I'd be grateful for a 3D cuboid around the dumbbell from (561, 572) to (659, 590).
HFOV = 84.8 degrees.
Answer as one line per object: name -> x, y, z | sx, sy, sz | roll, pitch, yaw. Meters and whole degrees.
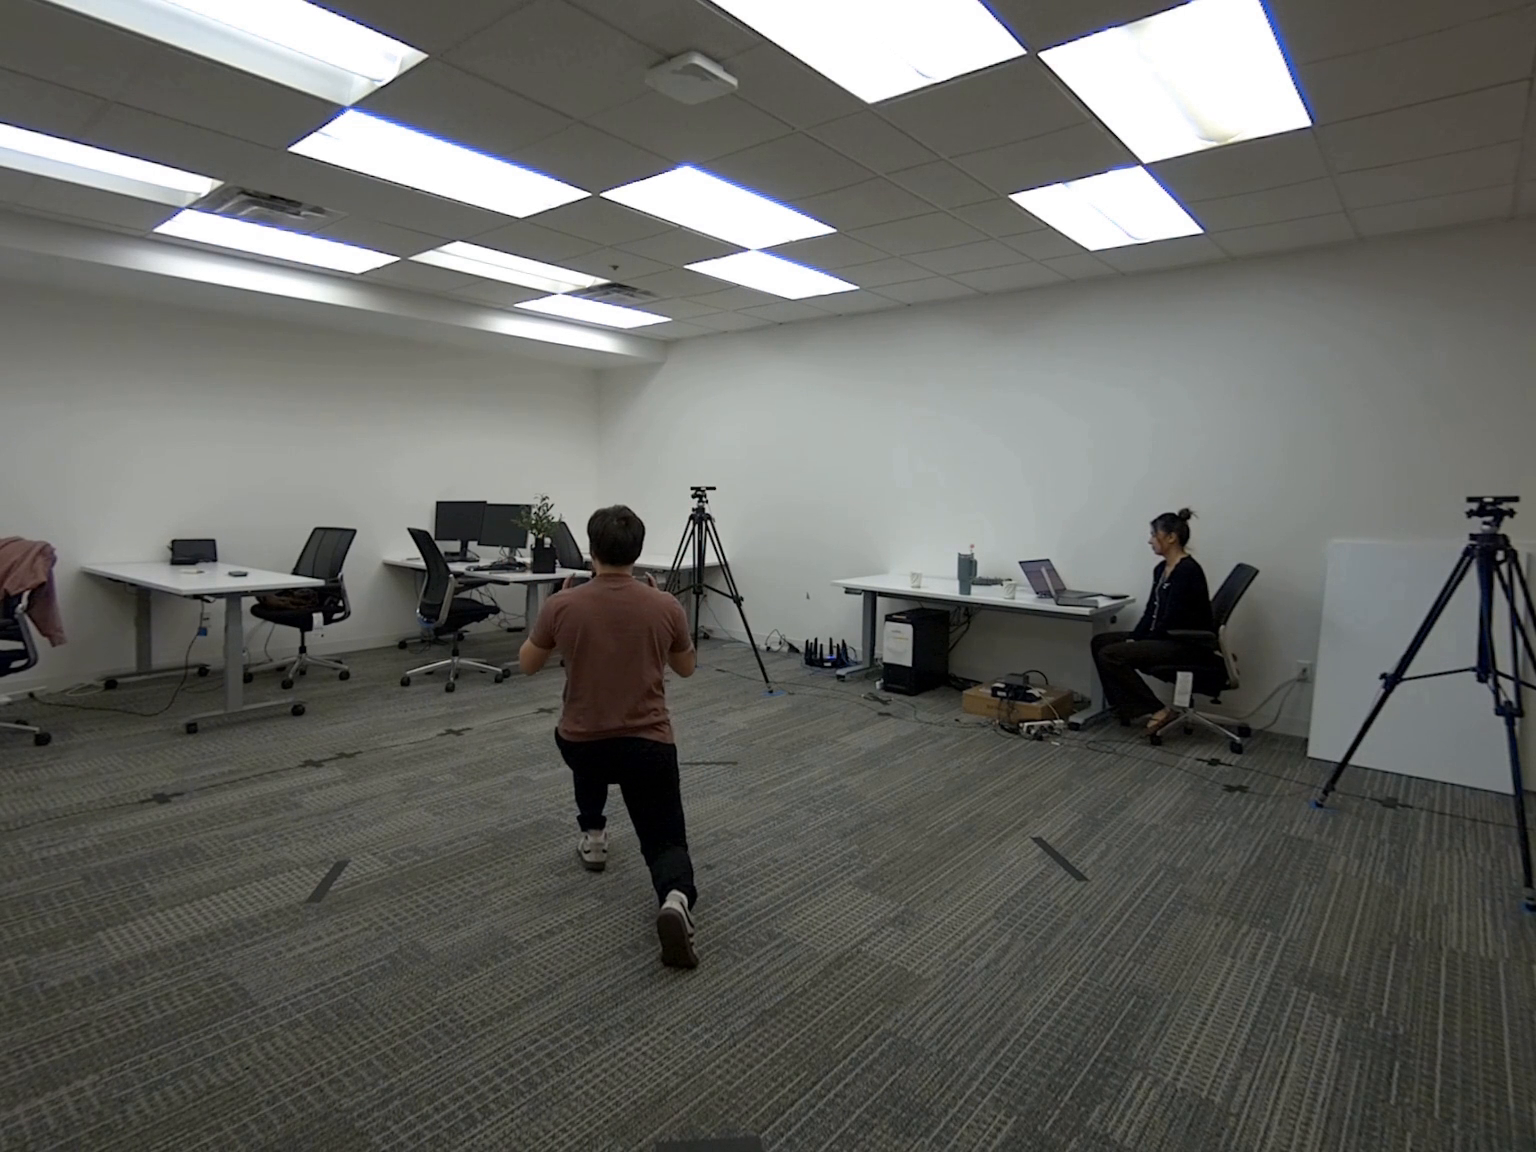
dumbbell -> -0.571, 0.052, 3.059 | 0.293, 0.108, 0.124 | 4, 8, -3
